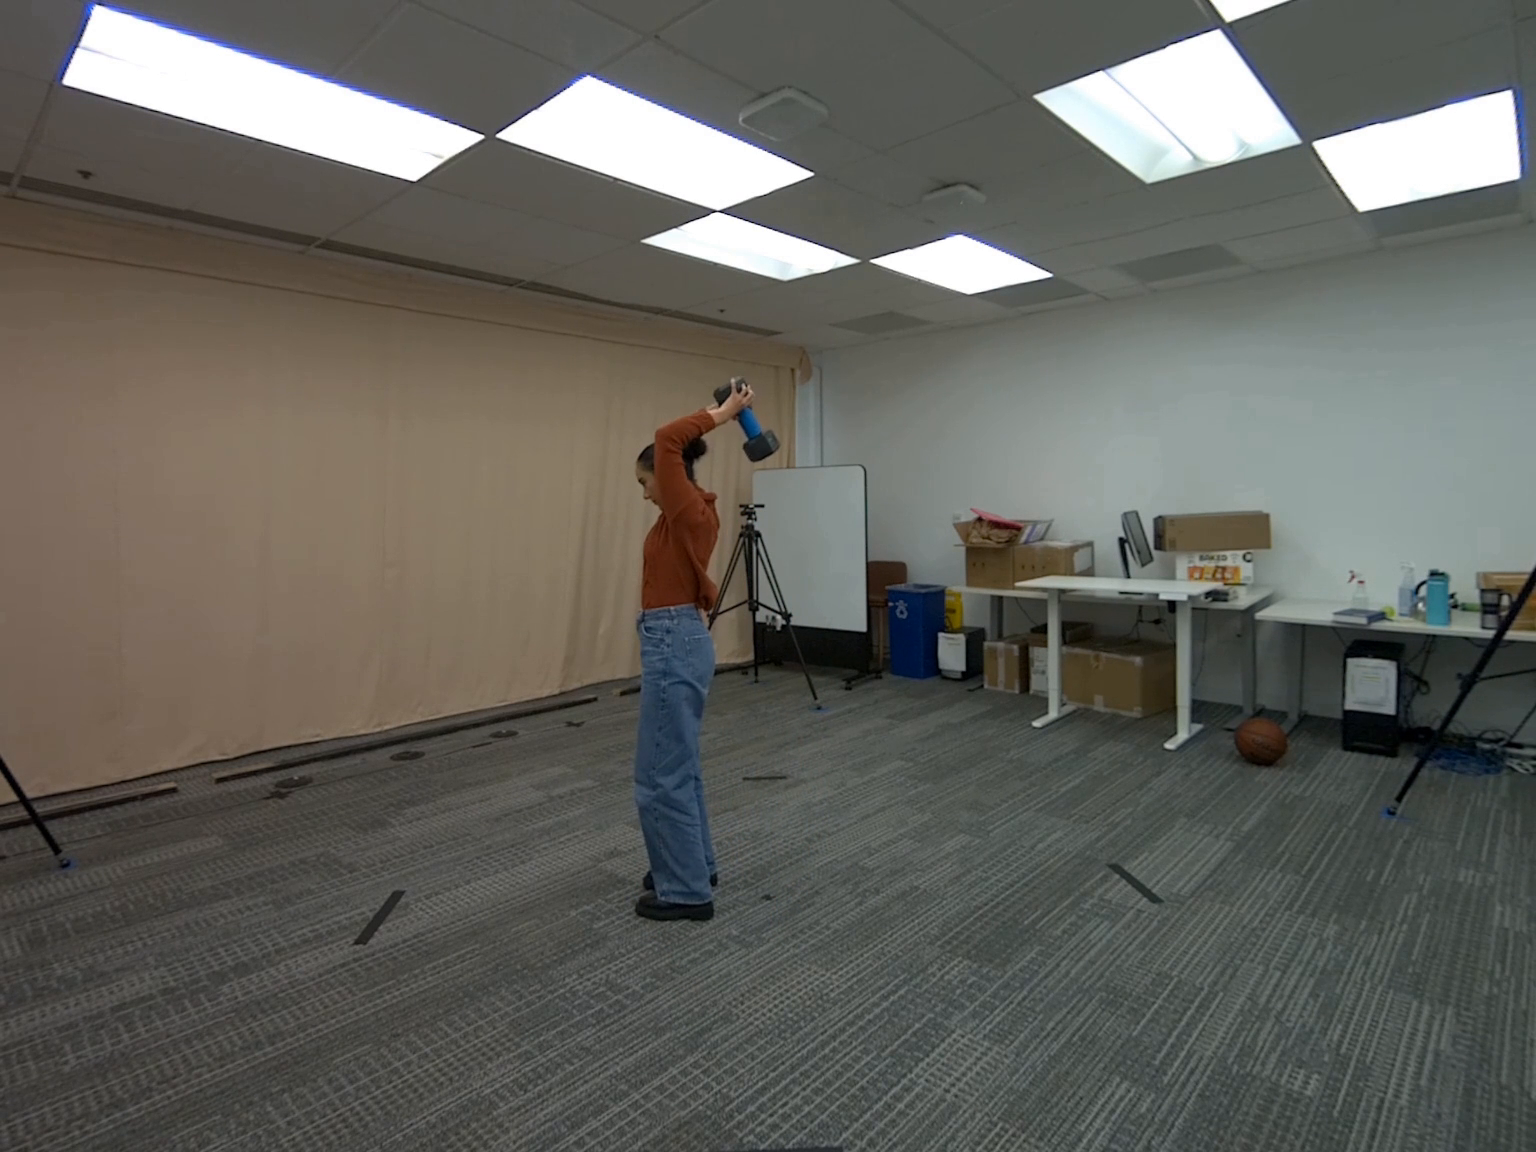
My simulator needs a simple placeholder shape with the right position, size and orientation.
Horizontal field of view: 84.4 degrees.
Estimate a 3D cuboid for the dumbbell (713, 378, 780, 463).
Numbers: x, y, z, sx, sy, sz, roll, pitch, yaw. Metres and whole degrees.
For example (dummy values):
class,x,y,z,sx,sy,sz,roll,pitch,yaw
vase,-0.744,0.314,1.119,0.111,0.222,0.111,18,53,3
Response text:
class,x,y,z,sx,sy,sz,roll,pitch,yaw
dumbbell,-0.076,-0.548,2.971,0.123,0.290,0.109,-31,11,8
